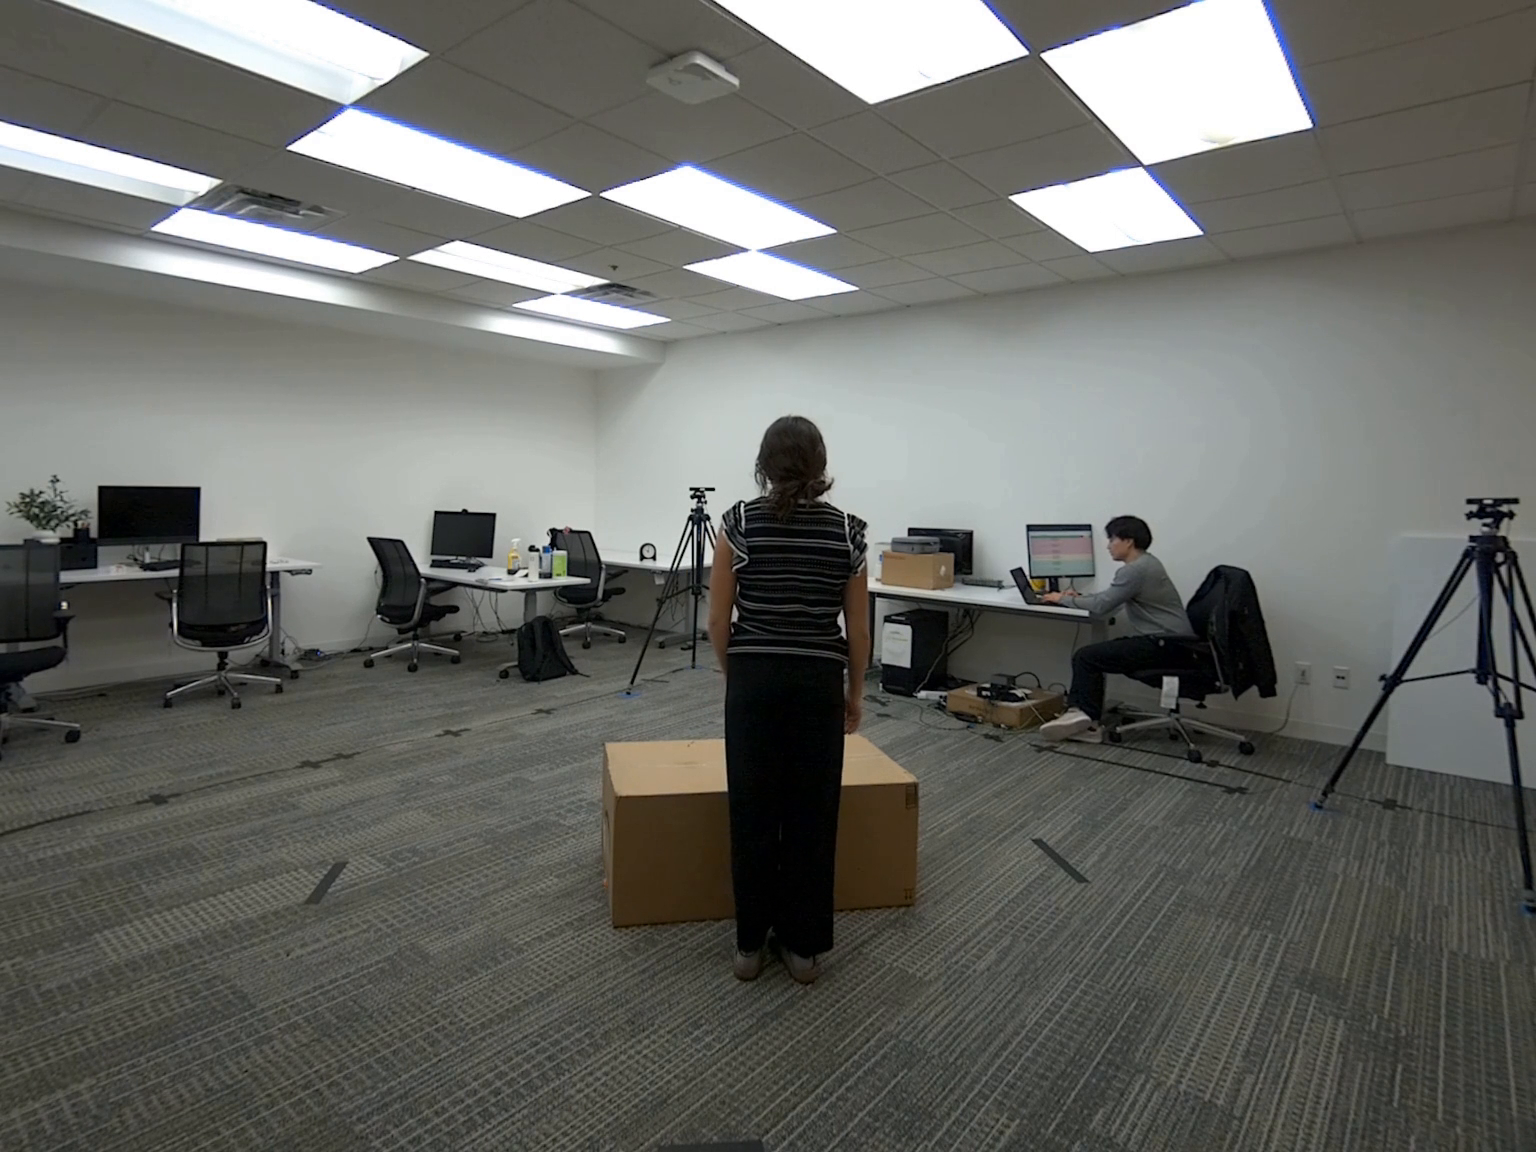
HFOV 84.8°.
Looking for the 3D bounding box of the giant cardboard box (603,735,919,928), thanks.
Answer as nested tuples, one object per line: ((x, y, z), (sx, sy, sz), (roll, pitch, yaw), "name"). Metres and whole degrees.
((-0.069, 0.865, 3.036), (1.013, 0.425, 0.587), (0, 4, -12), "giant cardboard box")
